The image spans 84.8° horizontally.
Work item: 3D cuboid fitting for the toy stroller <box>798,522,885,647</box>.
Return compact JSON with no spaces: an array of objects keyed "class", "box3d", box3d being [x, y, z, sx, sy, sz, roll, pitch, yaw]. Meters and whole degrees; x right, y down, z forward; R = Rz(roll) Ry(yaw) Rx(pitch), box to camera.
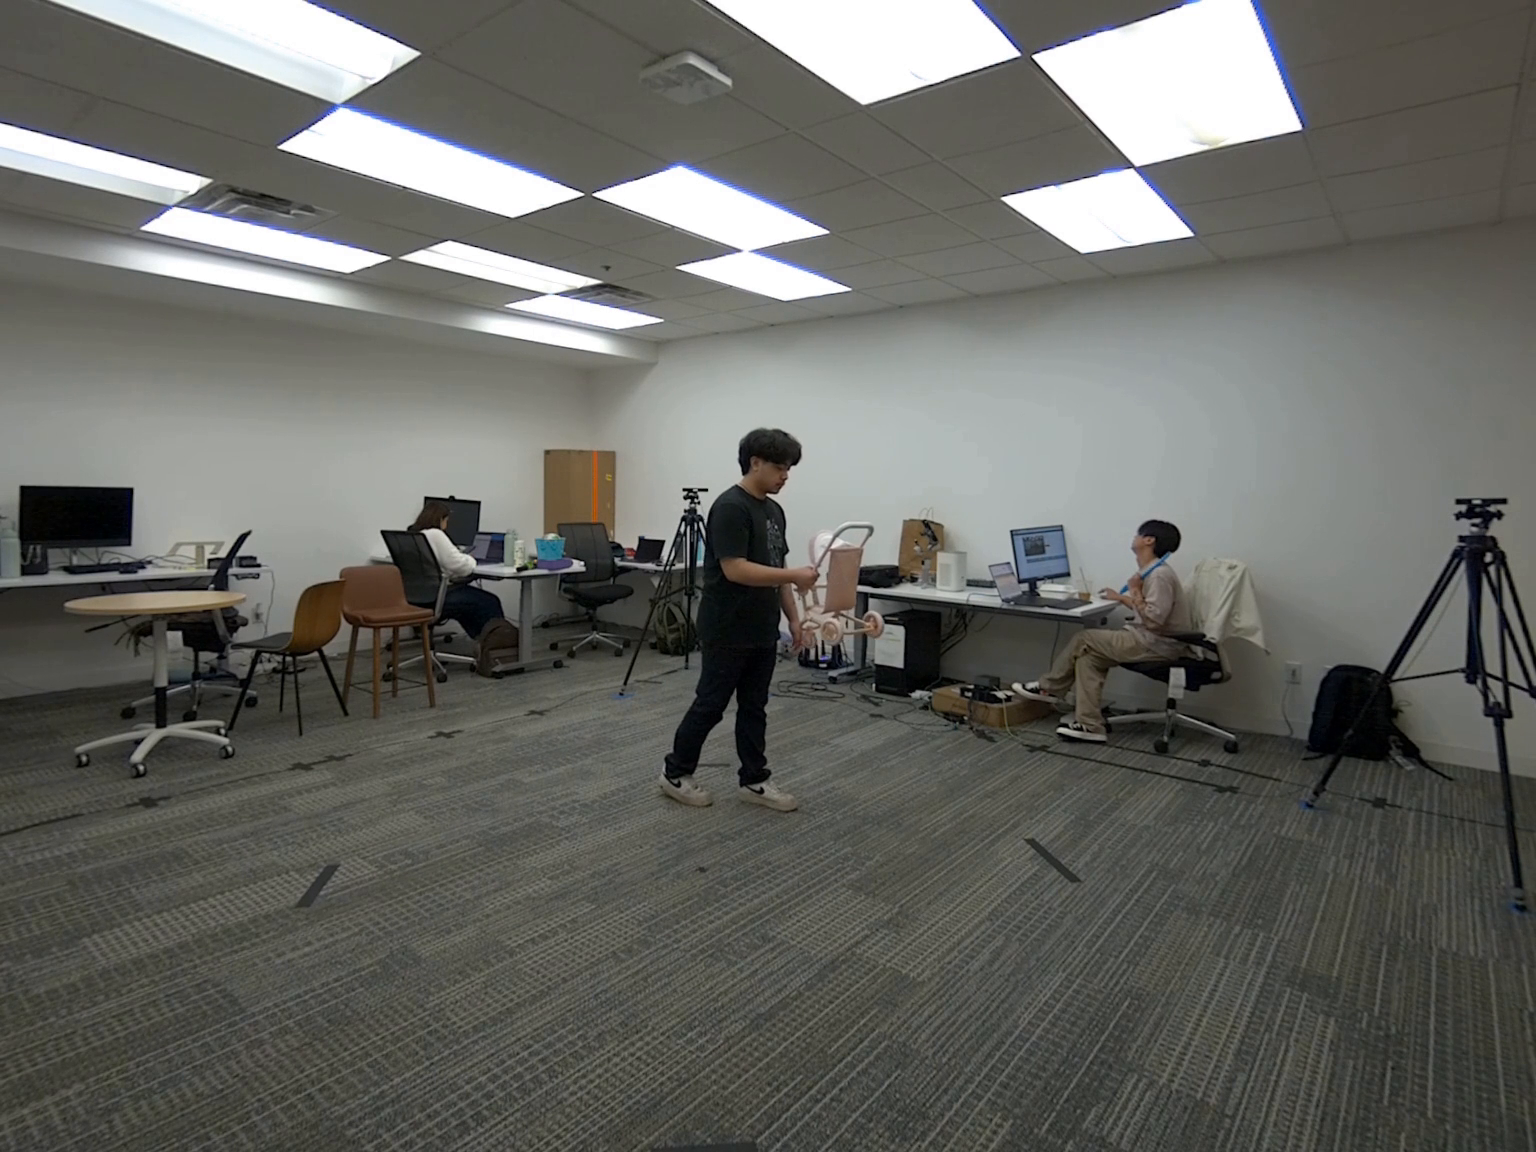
[{"class":"toy stroller","box3d":[0.248,0.044,3.494,0.274,0.533,0.352,-4,4,-35]}]
